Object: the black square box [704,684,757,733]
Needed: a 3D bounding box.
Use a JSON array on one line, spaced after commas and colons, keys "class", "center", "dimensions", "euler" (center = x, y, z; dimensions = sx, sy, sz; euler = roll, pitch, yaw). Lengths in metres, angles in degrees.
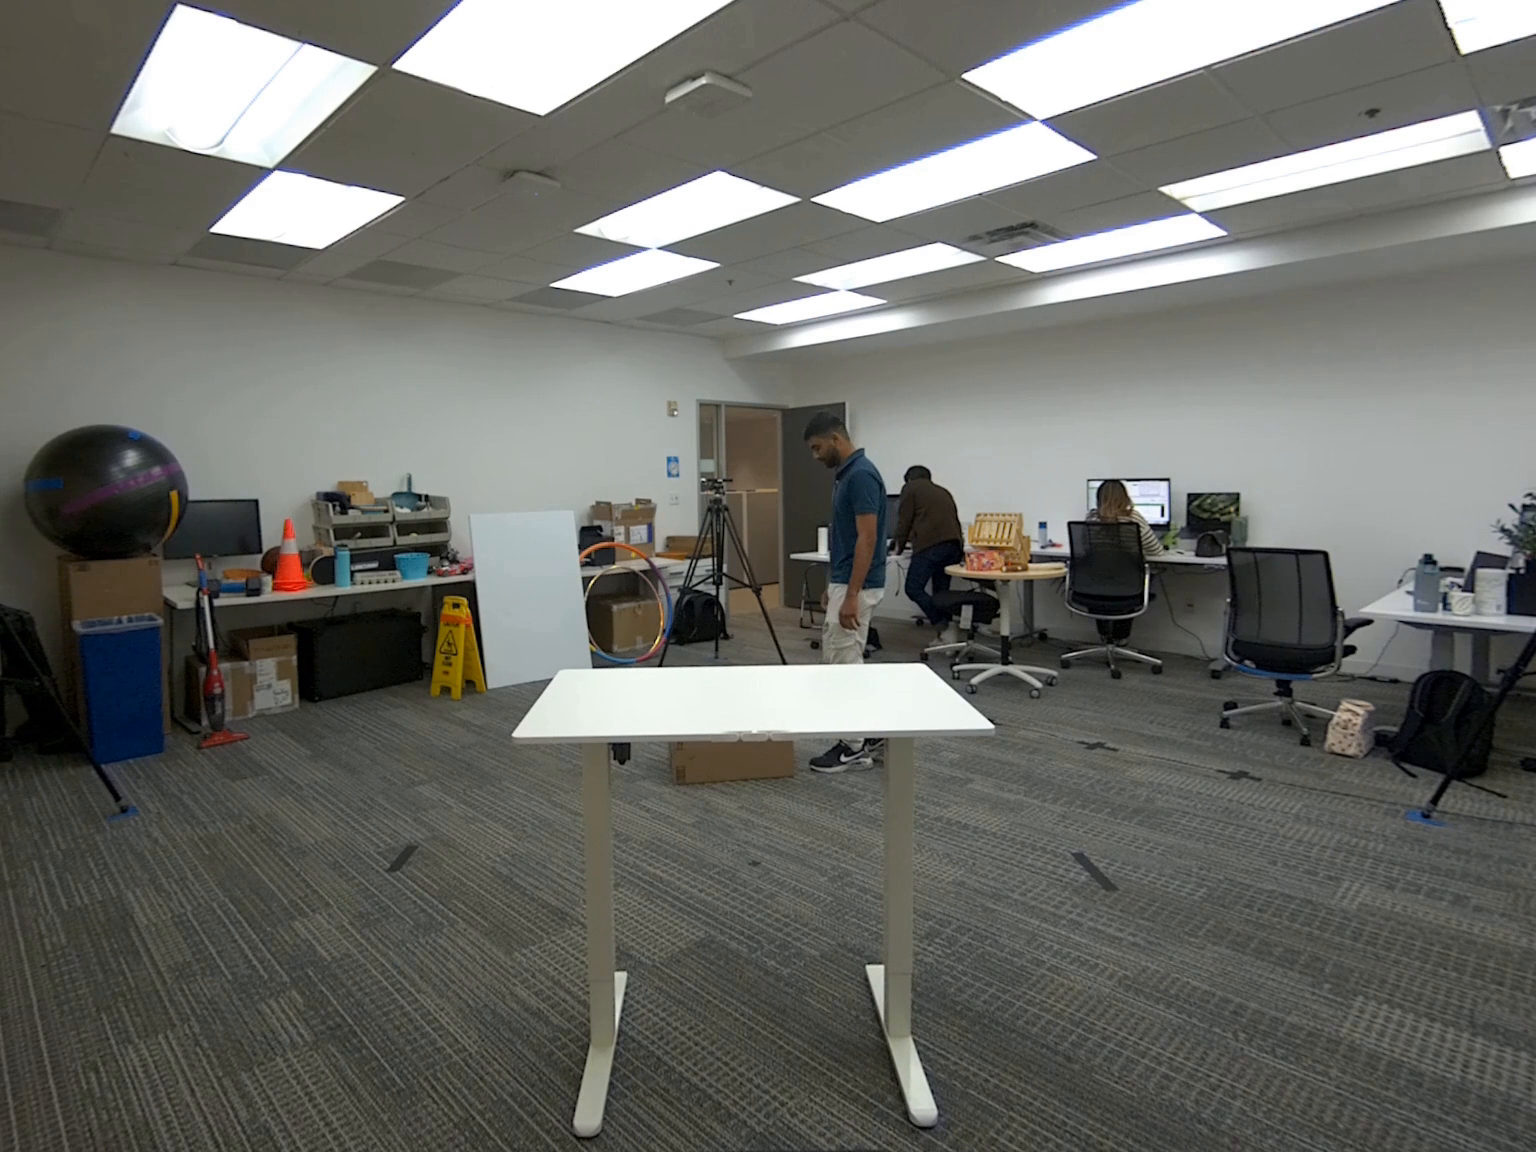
[{"class": "black square box", "center": [-0.187, 0.633, 4.138], "dimensions": [0.215, 0.155, 0.231], "euler": [-3, 7, -8]}]
